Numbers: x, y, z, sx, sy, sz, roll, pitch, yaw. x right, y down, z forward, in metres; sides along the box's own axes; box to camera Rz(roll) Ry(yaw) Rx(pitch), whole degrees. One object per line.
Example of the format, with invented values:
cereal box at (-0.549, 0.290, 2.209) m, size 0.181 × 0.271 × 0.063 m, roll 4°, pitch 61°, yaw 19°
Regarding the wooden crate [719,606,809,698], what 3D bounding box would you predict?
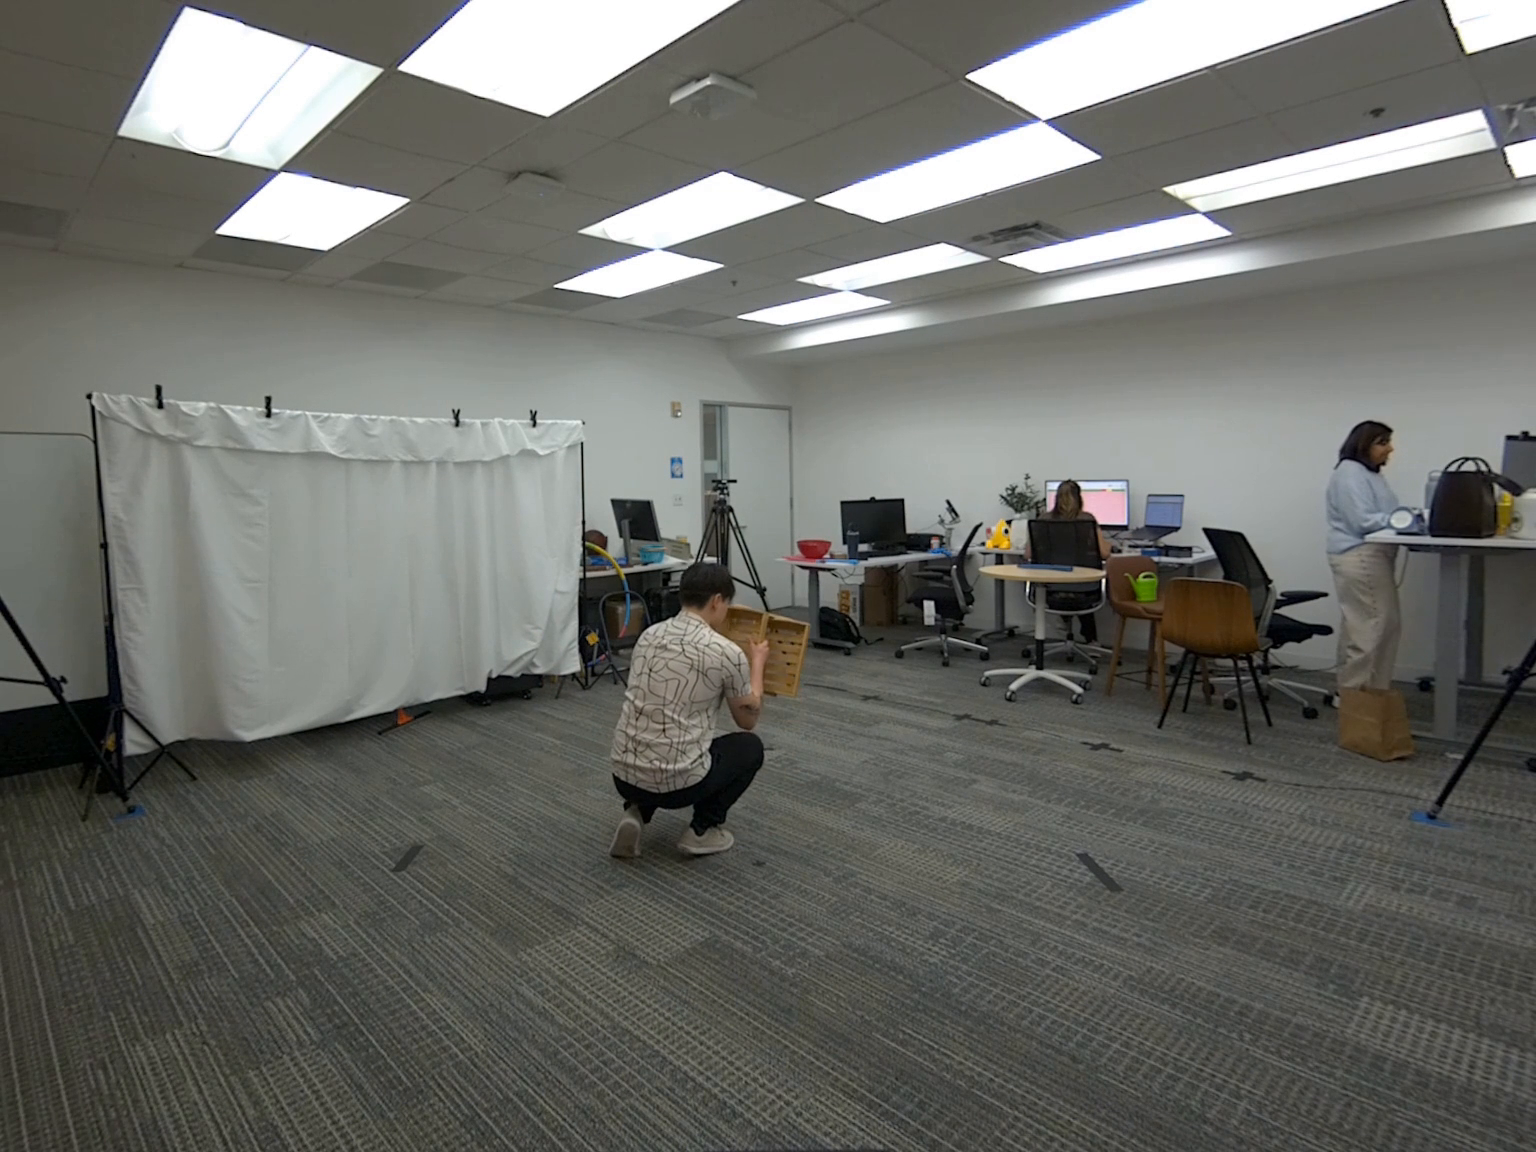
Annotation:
wooden crate at (-0.029, 0.307, 3.473) m, size 0.311 × 0.327 × 0.263 m, roll 2°, pitch -16°, yaw 42°
